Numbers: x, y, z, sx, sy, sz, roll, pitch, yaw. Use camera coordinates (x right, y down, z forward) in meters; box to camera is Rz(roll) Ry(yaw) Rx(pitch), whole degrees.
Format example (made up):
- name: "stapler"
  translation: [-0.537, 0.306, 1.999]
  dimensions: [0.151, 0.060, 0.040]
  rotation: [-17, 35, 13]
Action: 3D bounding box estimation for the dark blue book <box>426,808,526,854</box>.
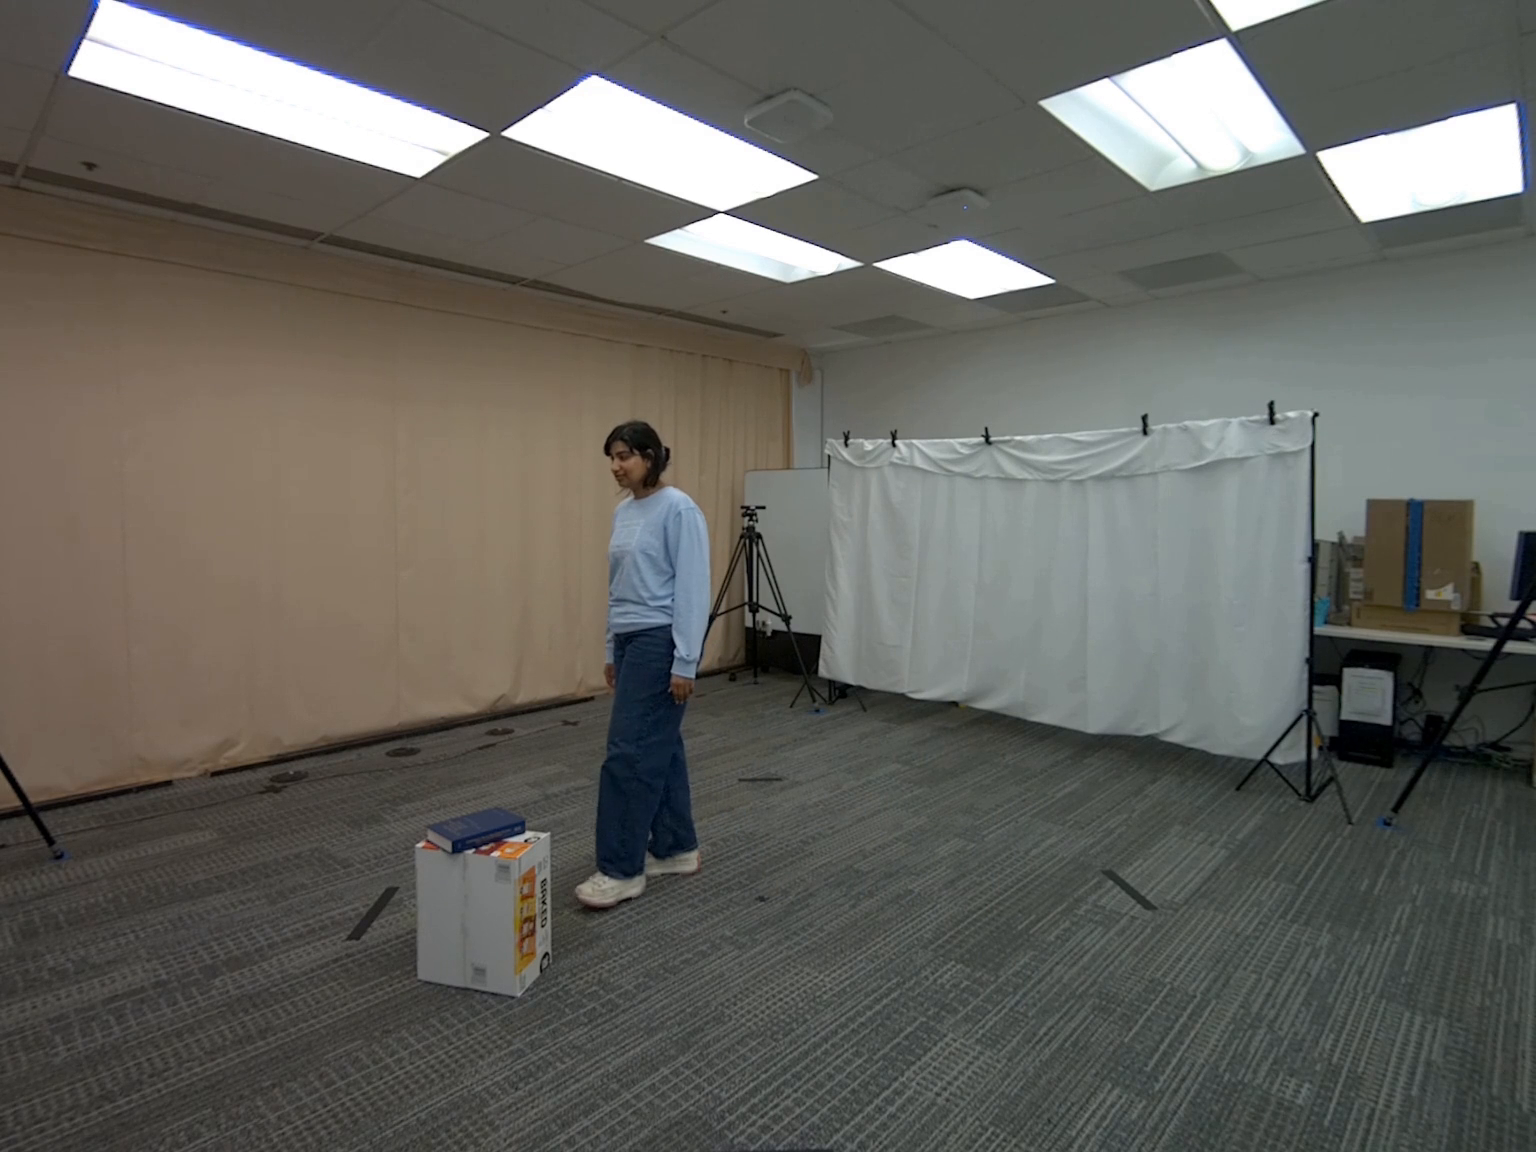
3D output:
- name: "dark blue book"
  translation: [-0.879, 0.759, 2.533]
  dimensions: [0.169, 0.045, 0.237]
  rotation: [3, 4, 42]
